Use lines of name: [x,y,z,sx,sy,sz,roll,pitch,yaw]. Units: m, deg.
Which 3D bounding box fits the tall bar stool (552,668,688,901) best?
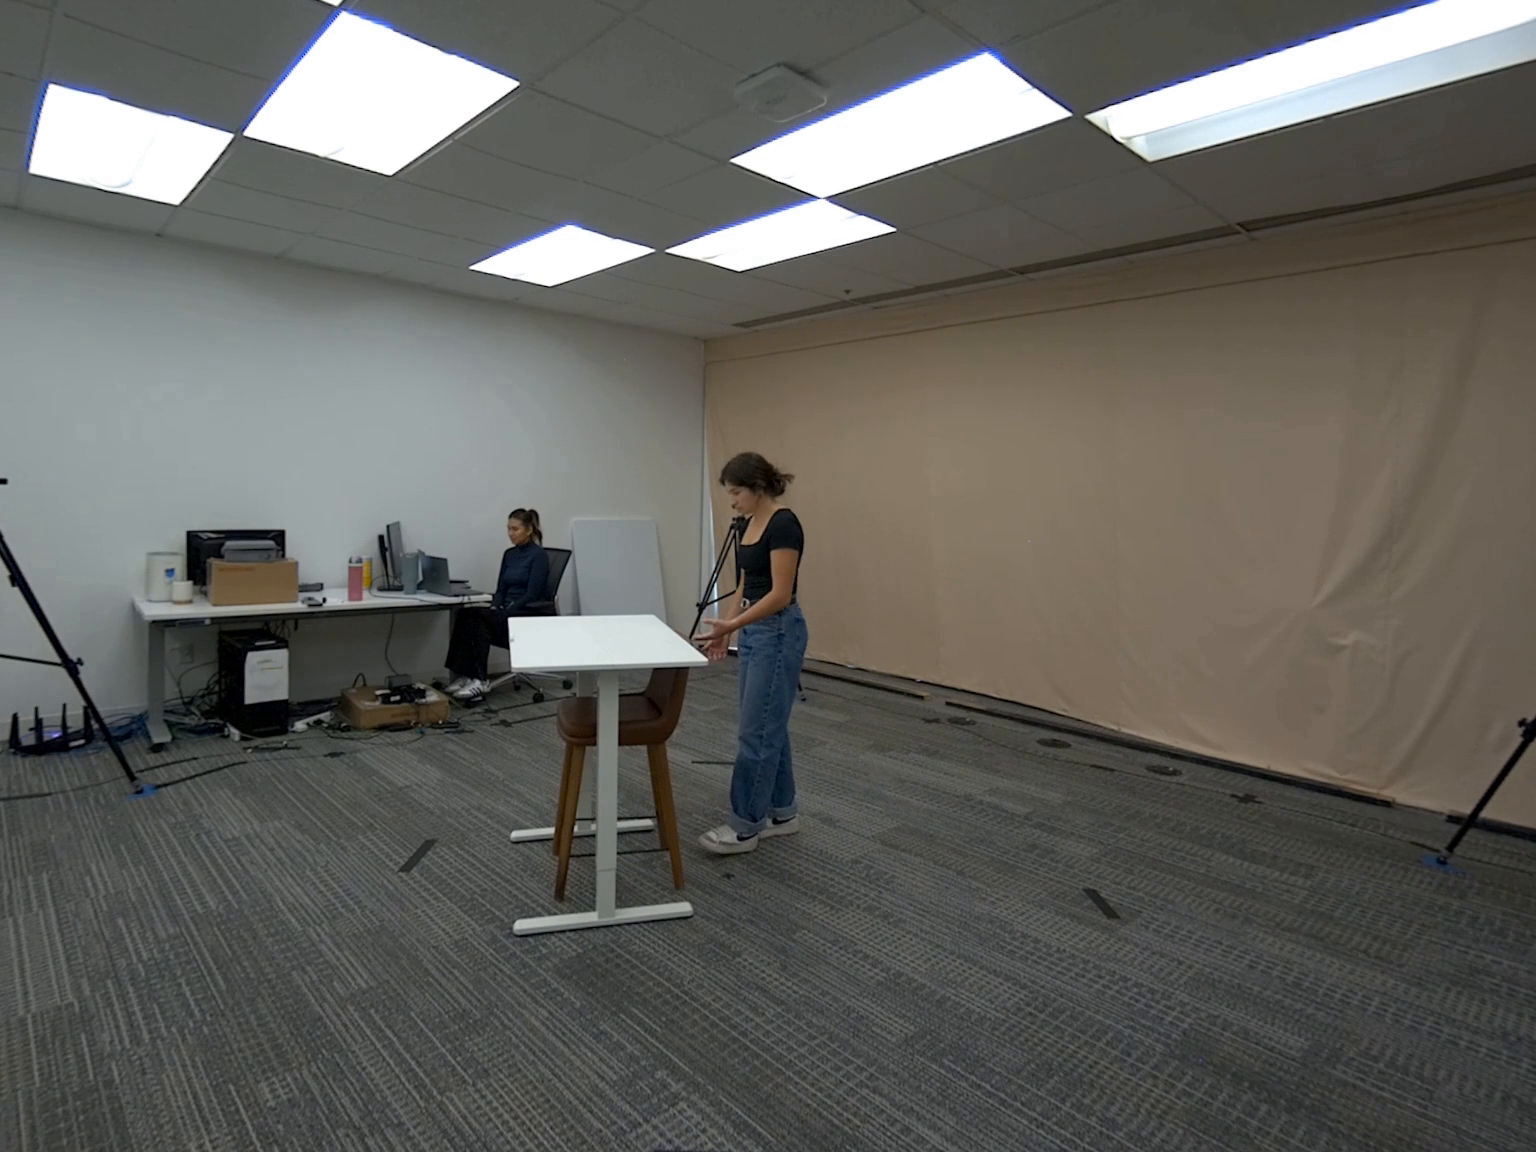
tall bar stool: [-0.552,0.669,3.094,0.462,0.888,0.462,2,3,-15]
